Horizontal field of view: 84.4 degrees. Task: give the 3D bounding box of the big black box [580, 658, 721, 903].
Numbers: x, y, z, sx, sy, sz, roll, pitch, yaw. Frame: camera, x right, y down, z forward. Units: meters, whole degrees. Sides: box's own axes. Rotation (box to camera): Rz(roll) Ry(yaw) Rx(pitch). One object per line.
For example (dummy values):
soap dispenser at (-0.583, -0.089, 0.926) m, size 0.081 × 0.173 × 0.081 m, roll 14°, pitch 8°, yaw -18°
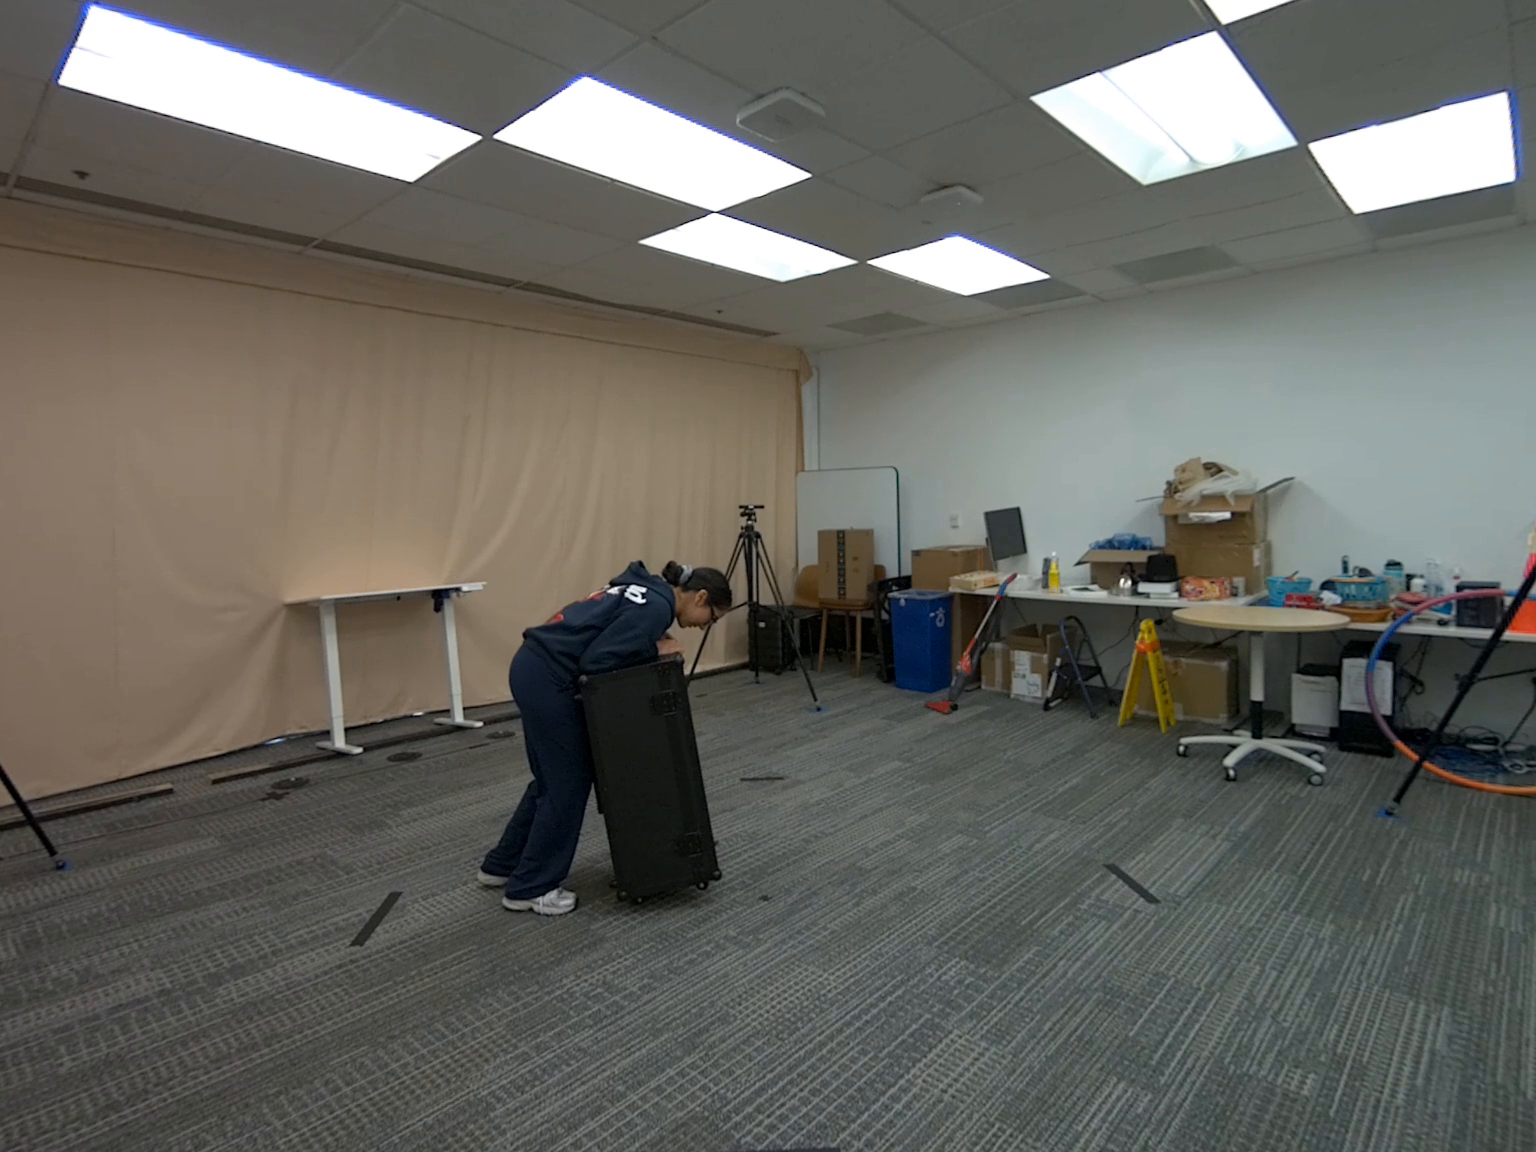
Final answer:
big black box at (-0.445, 0.711, 3.078) m, size 0.393 × 0.858 × 0.527 m, roll -11°, pitch 5°, yaw -9°
